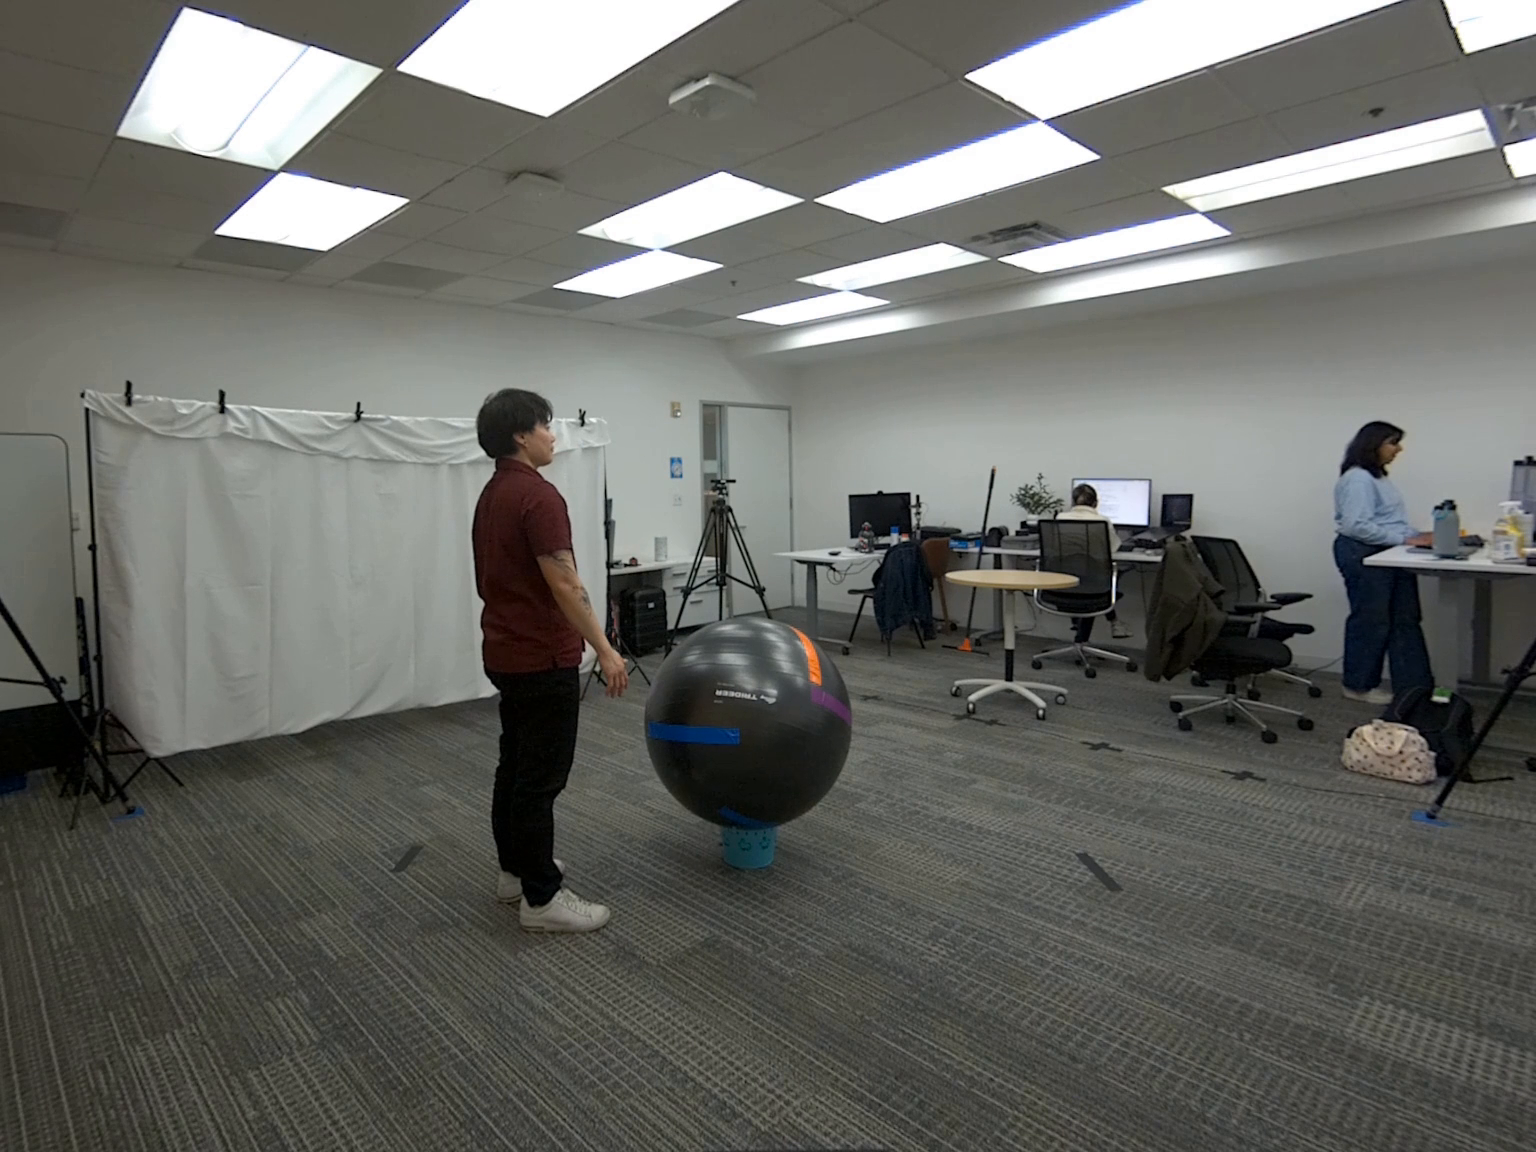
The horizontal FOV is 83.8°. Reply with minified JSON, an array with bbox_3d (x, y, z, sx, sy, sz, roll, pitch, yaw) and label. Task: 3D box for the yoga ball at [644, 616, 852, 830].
[{"bbox_3d":[-0.074,0.536,3.131,0.757,0.755,0.762,-1,5,-2],"label":"yoga ball"}]
